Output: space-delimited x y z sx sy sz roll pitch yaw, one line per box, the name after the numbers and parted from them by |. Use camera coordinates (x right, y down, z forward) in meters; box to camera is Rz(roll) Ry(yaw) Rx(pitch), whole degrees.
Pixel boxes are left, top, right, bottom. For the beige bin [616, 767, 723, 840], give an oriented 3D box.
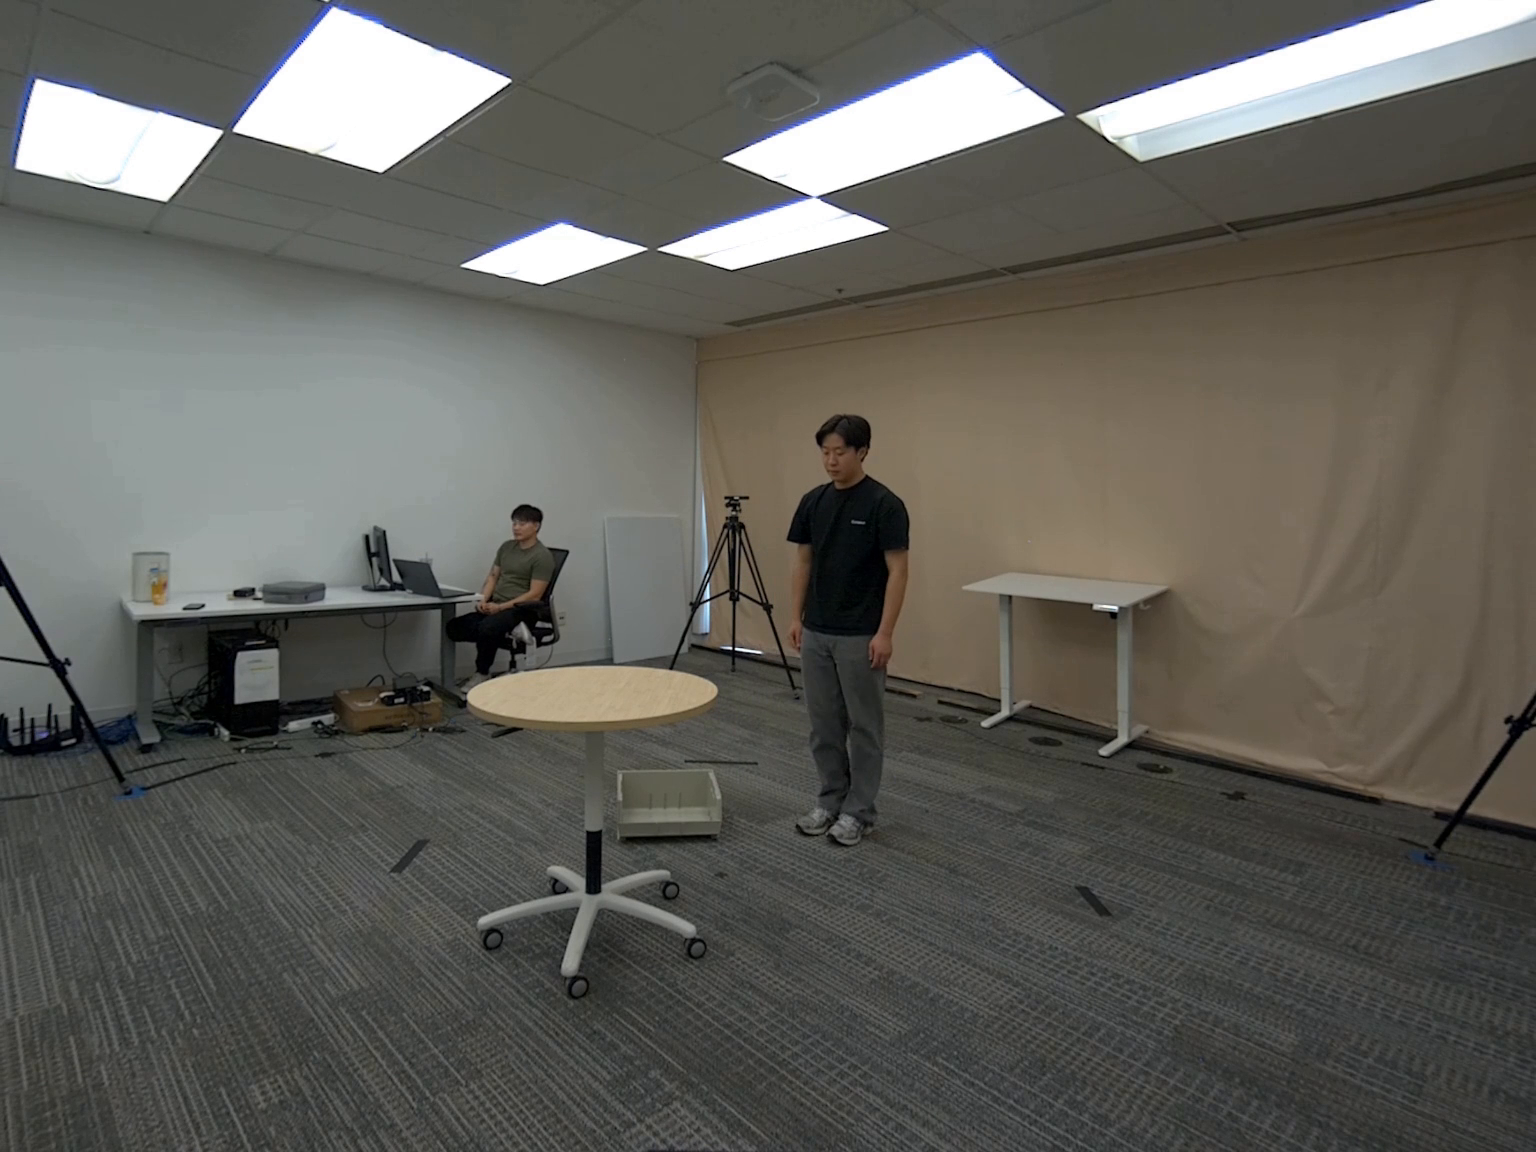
-0.432 0.972 3.548 0.419 0.188 0.381 0 4 -9 | beige bin
